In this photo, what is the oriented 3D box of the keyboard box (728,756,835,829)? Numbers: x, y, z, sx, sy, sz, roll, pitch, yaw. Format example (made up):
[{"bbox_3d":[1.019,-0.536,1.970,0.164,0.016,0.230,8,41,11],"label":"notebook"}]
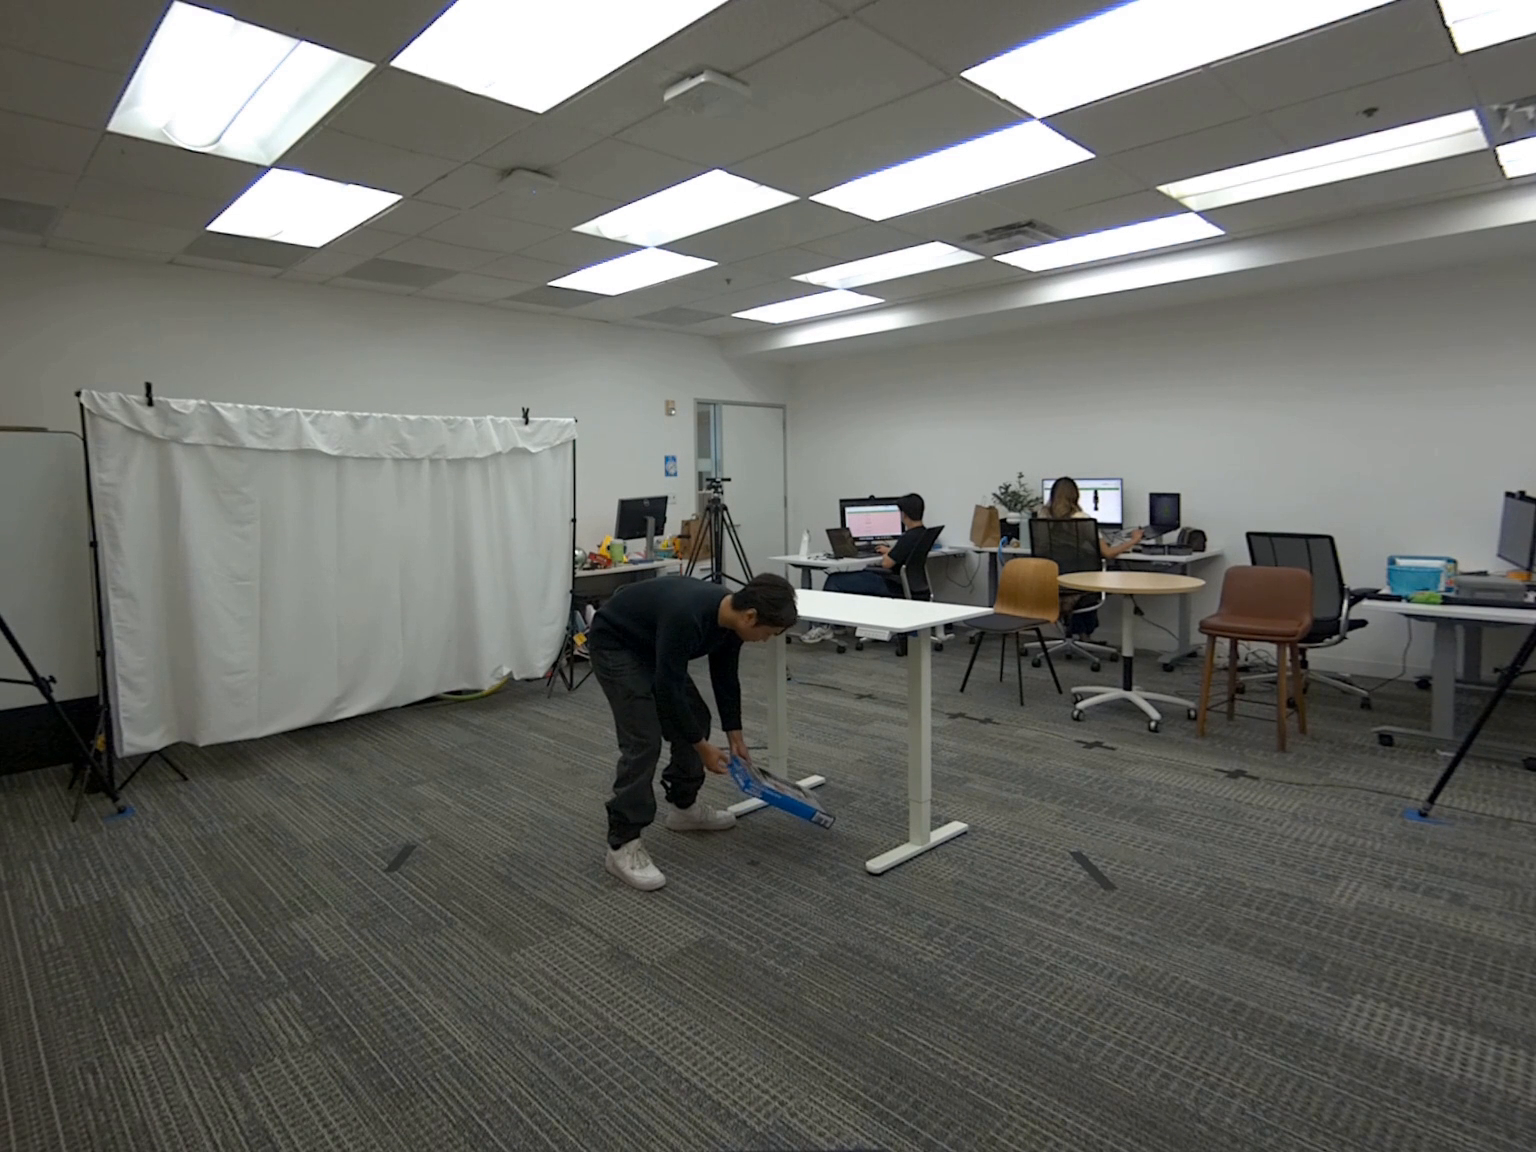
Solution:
[{"bbox_3d":[0.074,0.830,3.236,0.425,0.059,0.181,31,5,-22],"label":"keyboard box"}]
